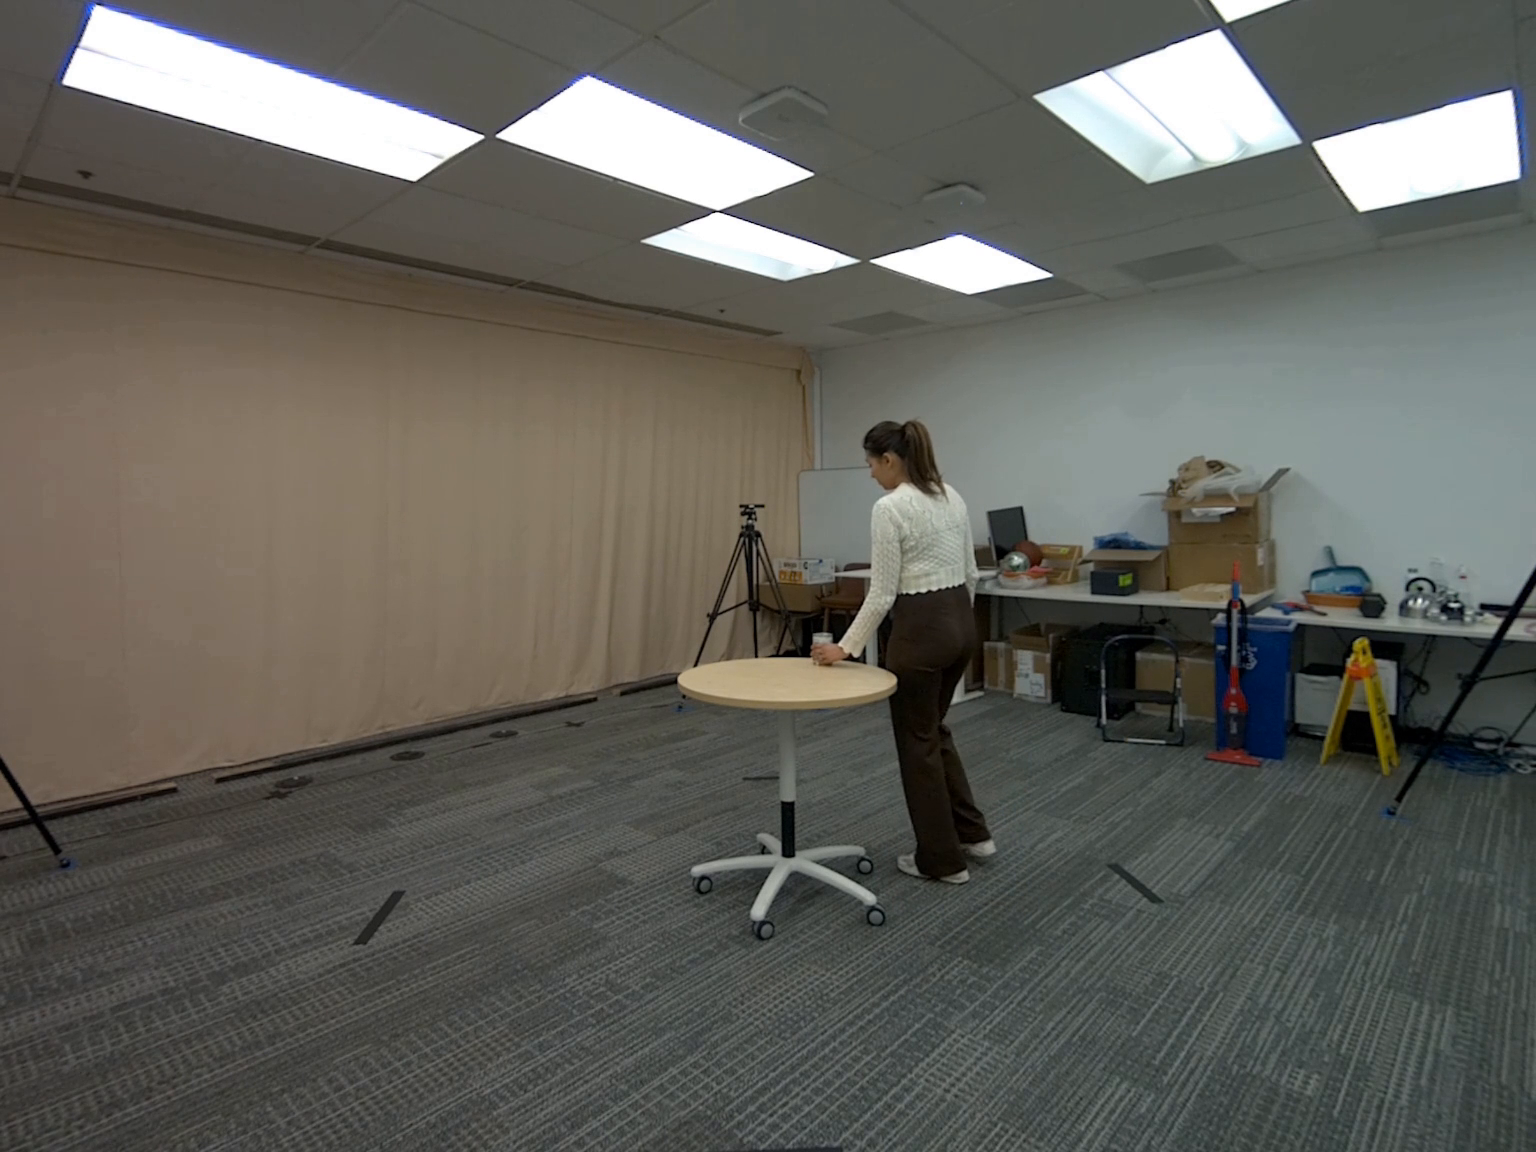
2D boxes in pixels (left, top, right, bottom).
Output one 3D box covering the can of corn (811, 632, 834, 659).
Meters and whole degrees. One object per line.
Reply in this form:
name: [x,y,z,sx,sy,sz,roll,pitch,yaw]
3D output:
can of corn: [0.215,0.279,3.203,0.074,0.111,0.074,0,5,-2]
